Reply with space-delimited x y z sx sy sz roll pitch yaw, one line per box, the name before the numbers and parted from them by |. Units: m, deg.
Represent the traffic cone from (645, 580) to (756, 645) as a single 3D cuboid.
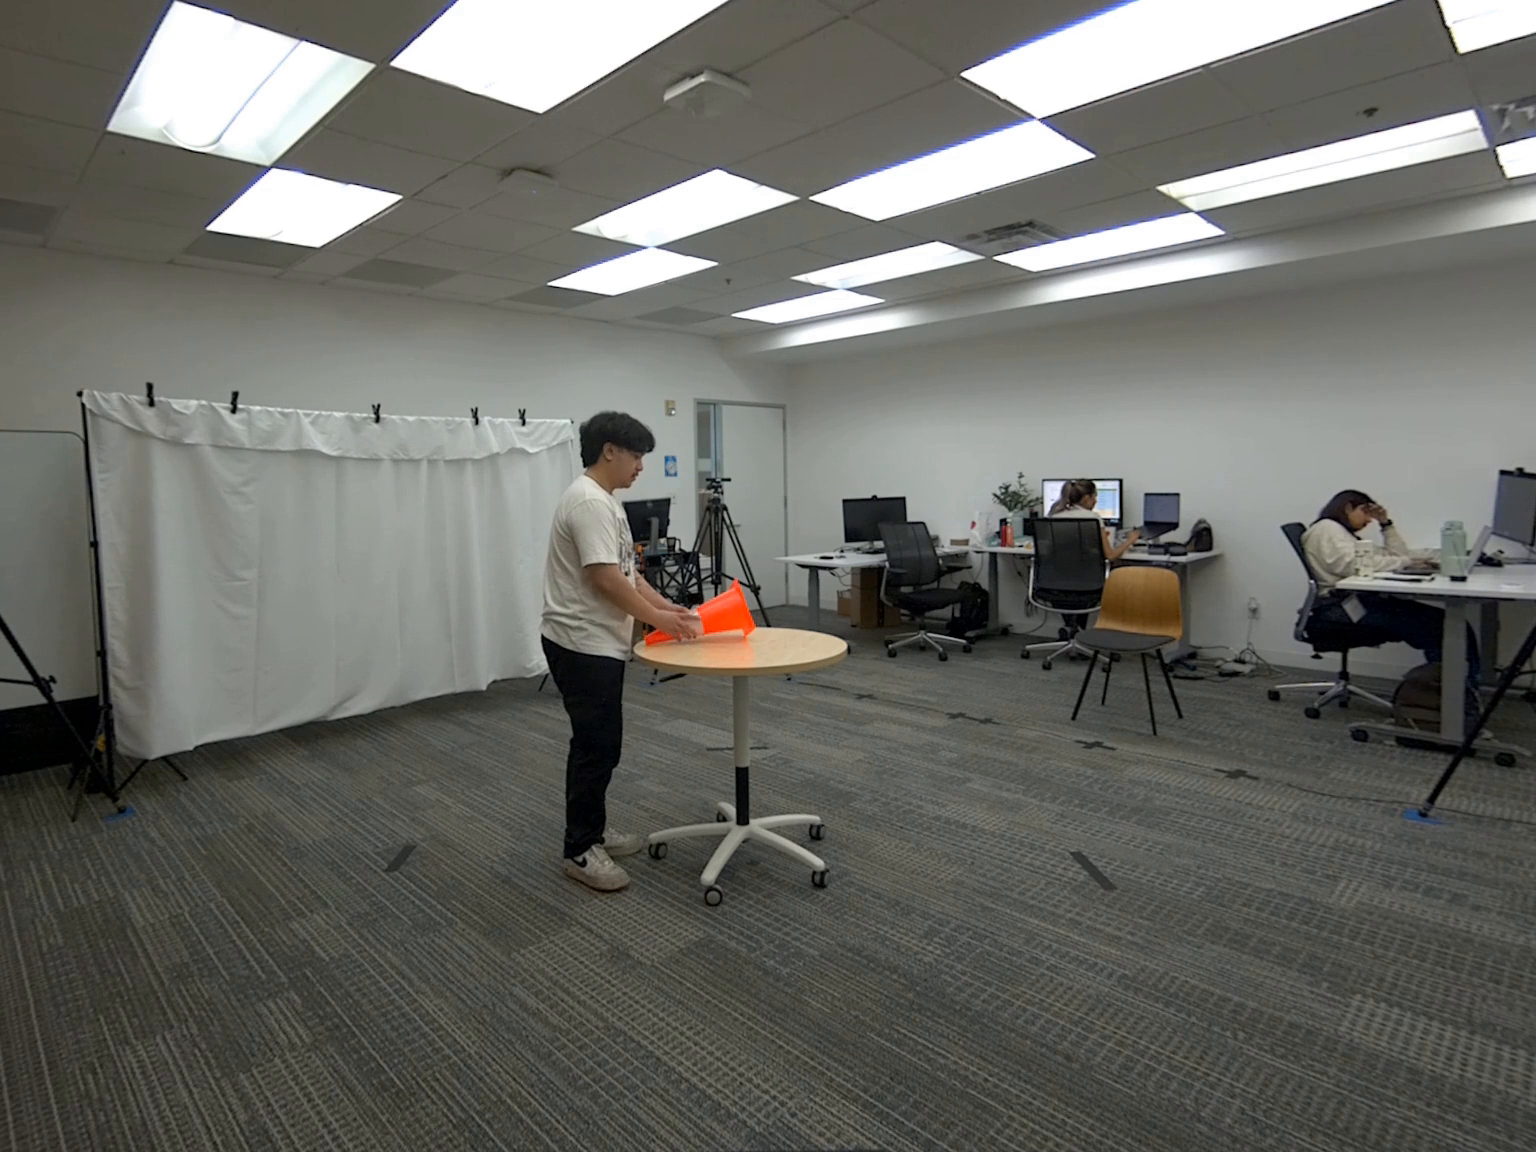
traffic cone | -0.275 0.173 3.147 0.381 0.207 0.203 -17 -8 -11
